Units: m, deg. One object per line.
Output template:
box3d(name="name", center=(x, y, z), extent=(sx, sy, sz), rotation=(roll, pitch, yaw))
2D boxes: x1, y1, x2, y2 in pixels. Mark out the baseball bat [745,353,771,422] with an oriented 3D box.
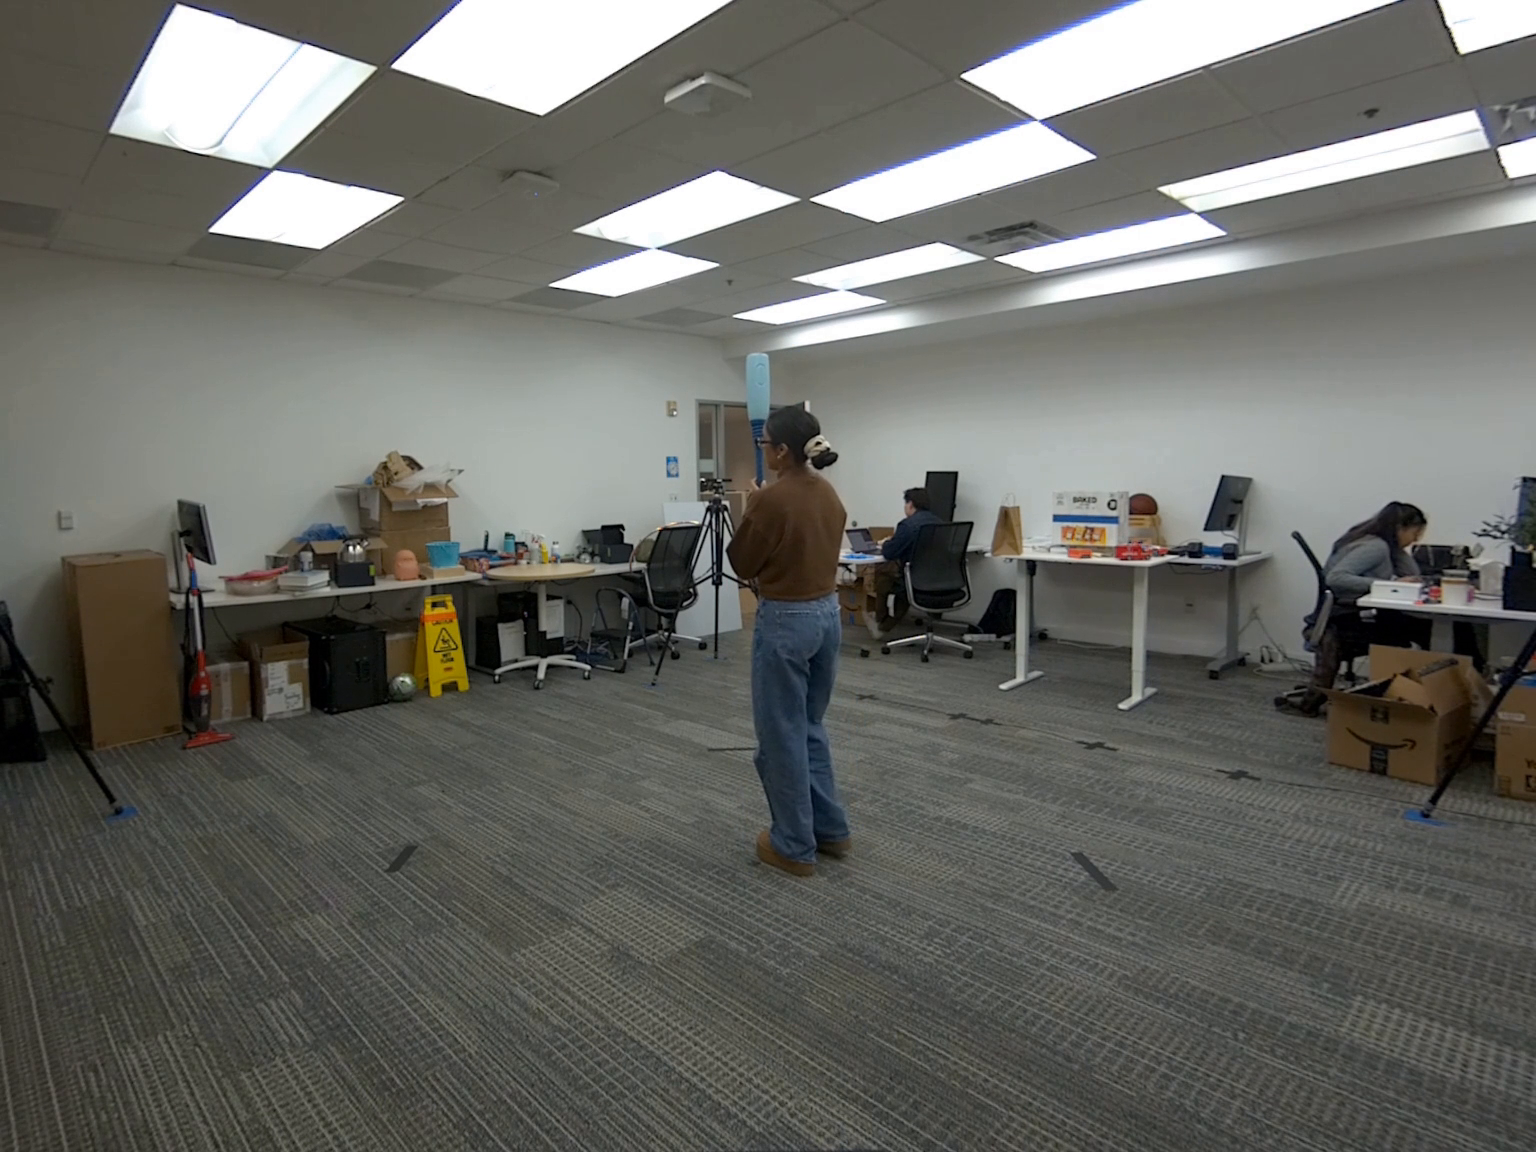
box3d(name="baseball bat", center=(-0.028, -0.560, 3.173), extent=(0.089, 0.545, 0.089), rotation=(-2, -5, -2))
